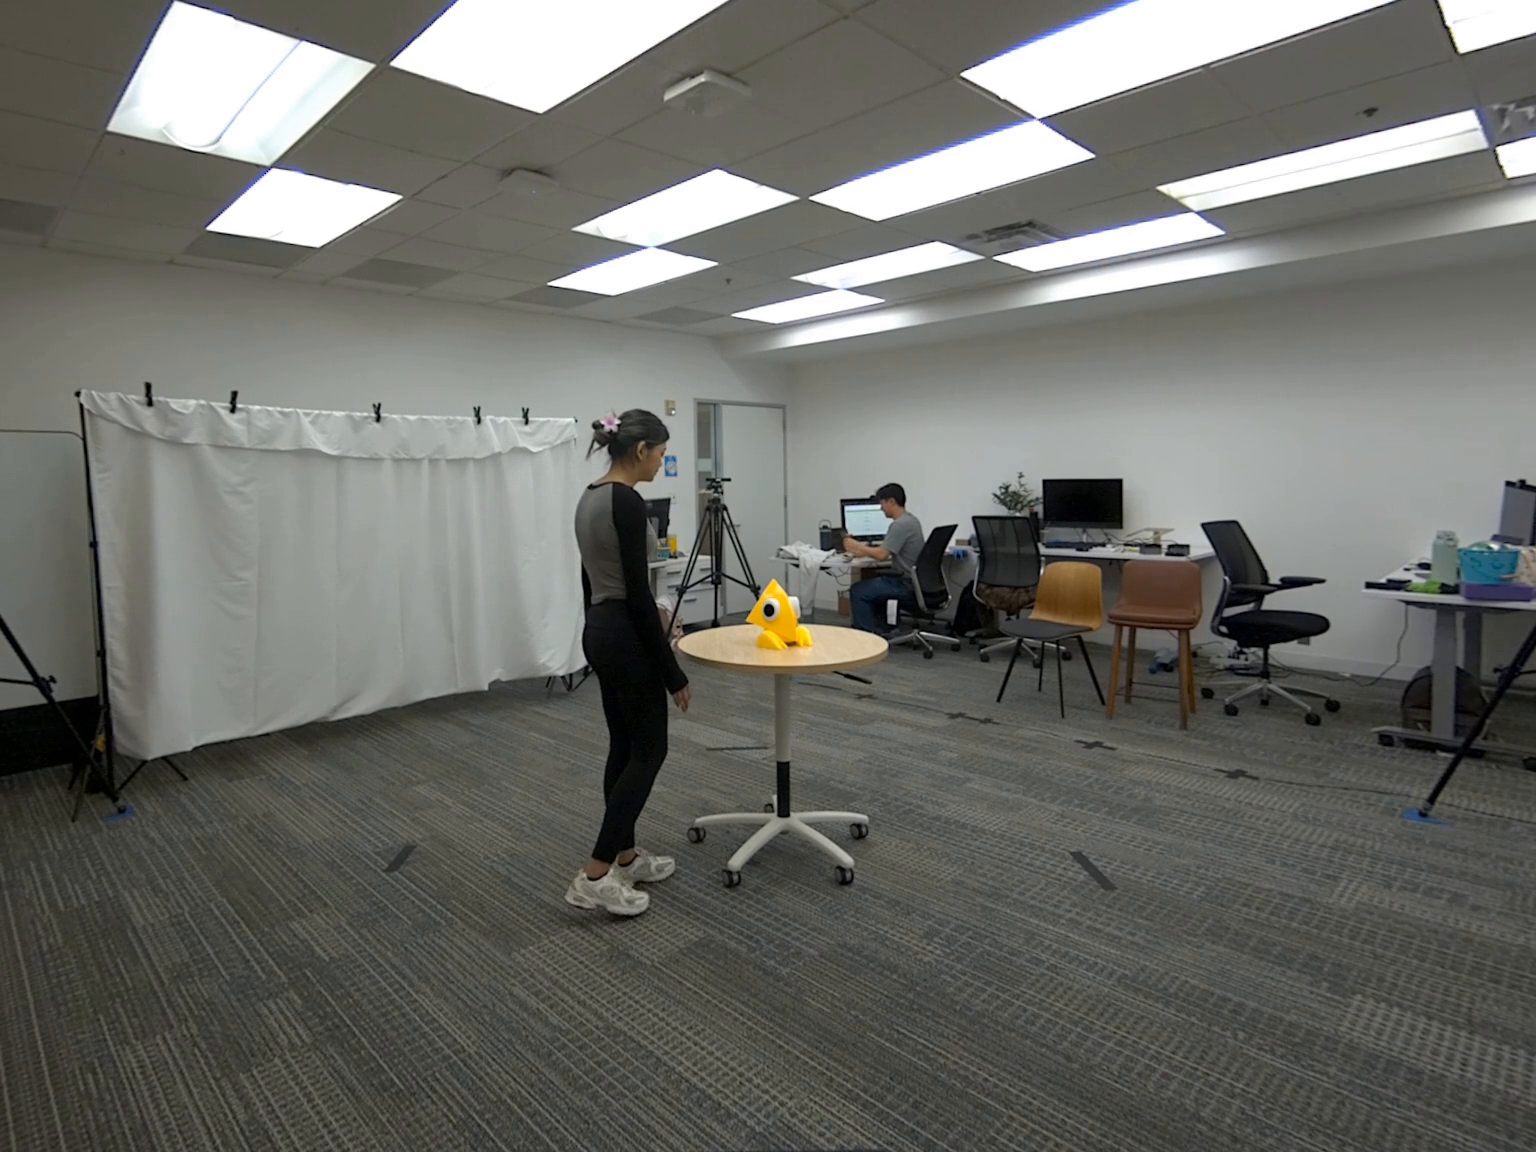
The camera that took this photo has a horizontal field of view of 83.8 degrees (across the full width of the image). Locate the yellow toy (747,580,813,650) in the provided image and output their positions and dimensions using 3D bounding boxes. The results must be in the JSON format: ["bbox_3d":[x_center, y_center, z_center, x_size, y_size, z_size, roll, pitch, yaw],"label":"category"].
[{"bbox_3d":[0.056,0.132,3.105,0.200,0.230,0.198,-3,6,-30],"label":"yellow toy"}]
